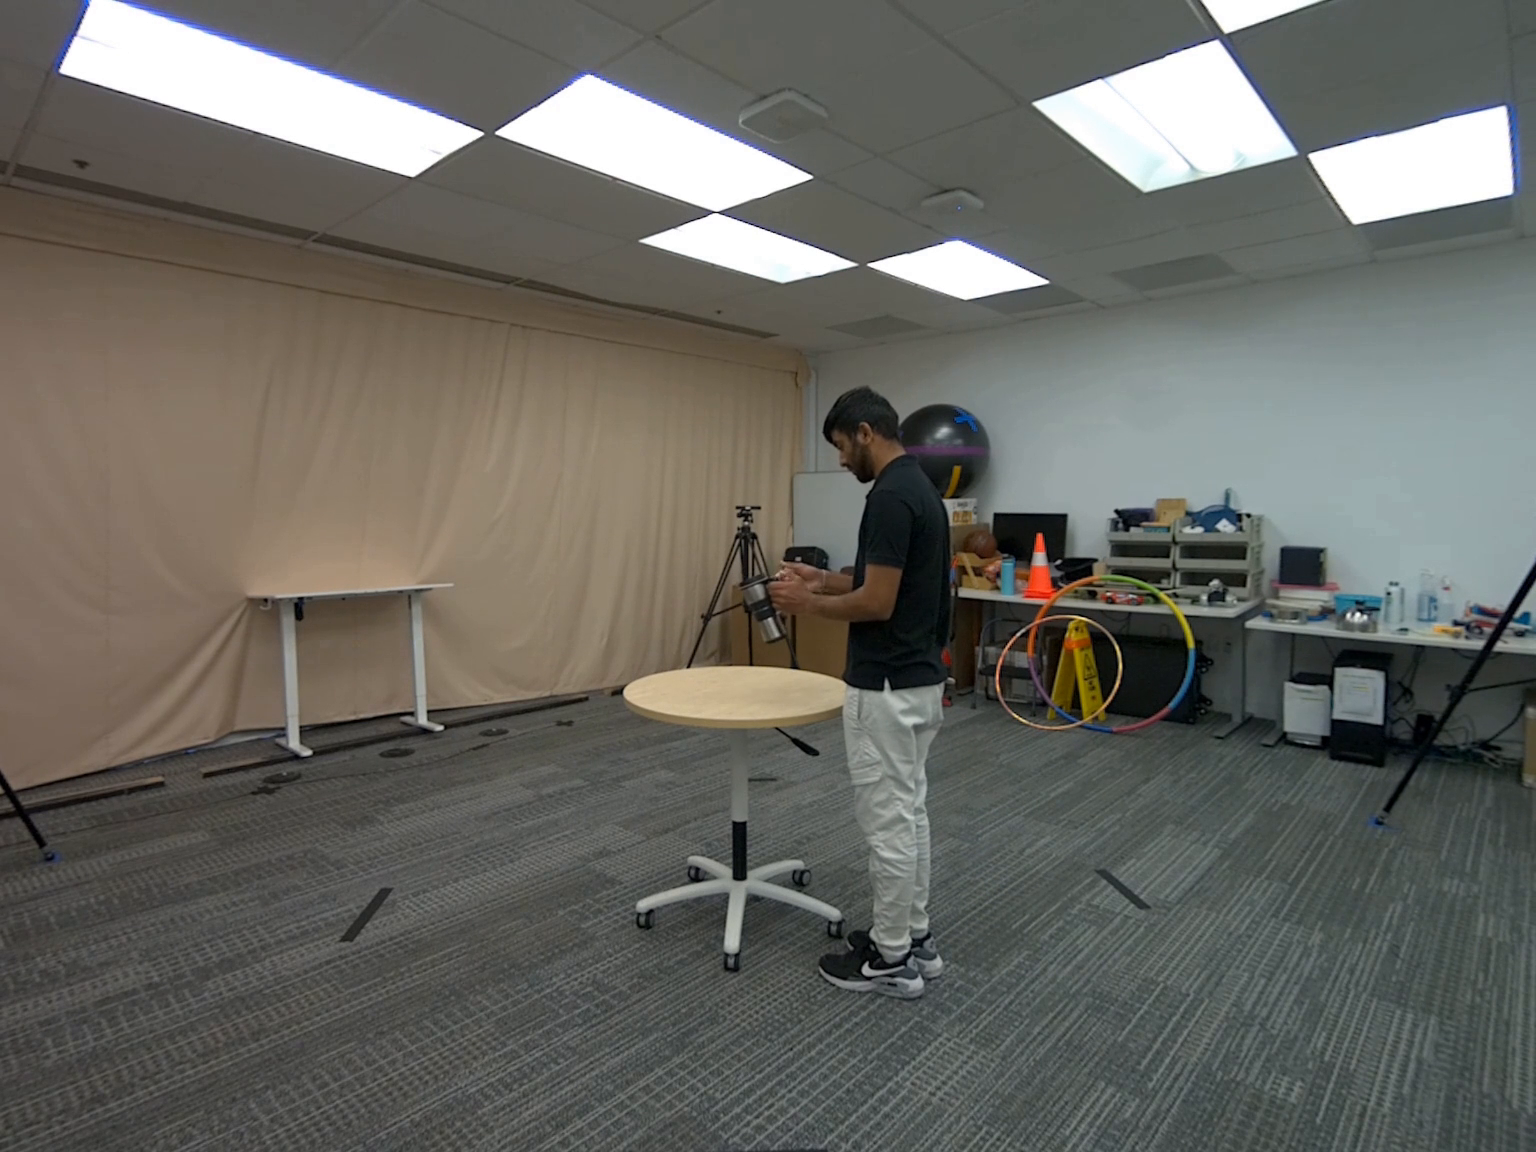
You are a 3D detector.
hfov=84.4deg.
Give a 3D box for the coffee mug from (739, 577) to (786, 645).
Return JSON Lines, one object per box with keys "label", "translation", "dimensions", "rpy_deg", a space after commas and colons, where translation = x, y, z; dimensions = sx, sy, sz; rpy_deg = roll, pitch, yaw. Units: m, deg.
{"label": "coffee mug", "translation": [0.009, 0.098, 2.489], "dimensions": [0.124, 0.204, 0.085], "rpy_deg": [-25, -7, 39]}
